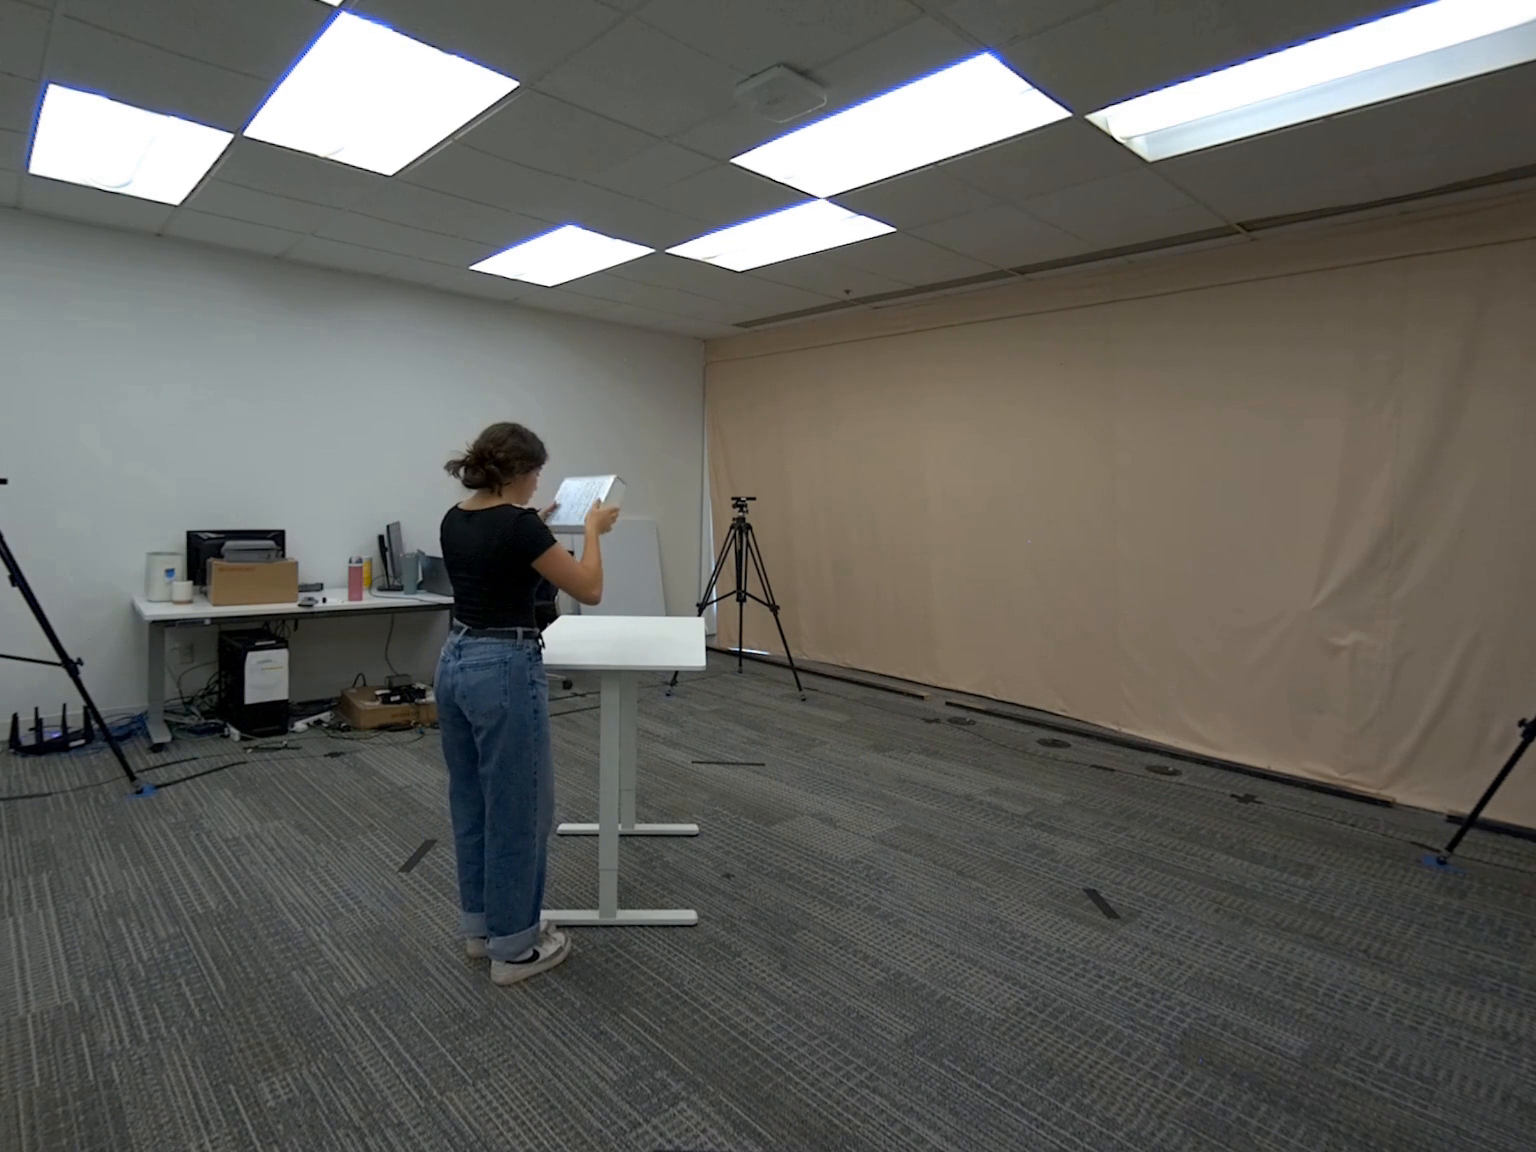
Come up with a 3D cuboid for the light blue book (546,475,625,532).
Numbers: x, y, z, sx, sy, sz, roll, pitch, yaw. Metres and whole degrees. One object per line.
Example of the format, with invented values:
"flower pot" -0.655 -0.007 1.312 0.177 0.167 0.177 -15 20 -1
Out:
"light blue book" -0.600 -0.222 2.679 0.267 0.193 0.057 2 -30 42
